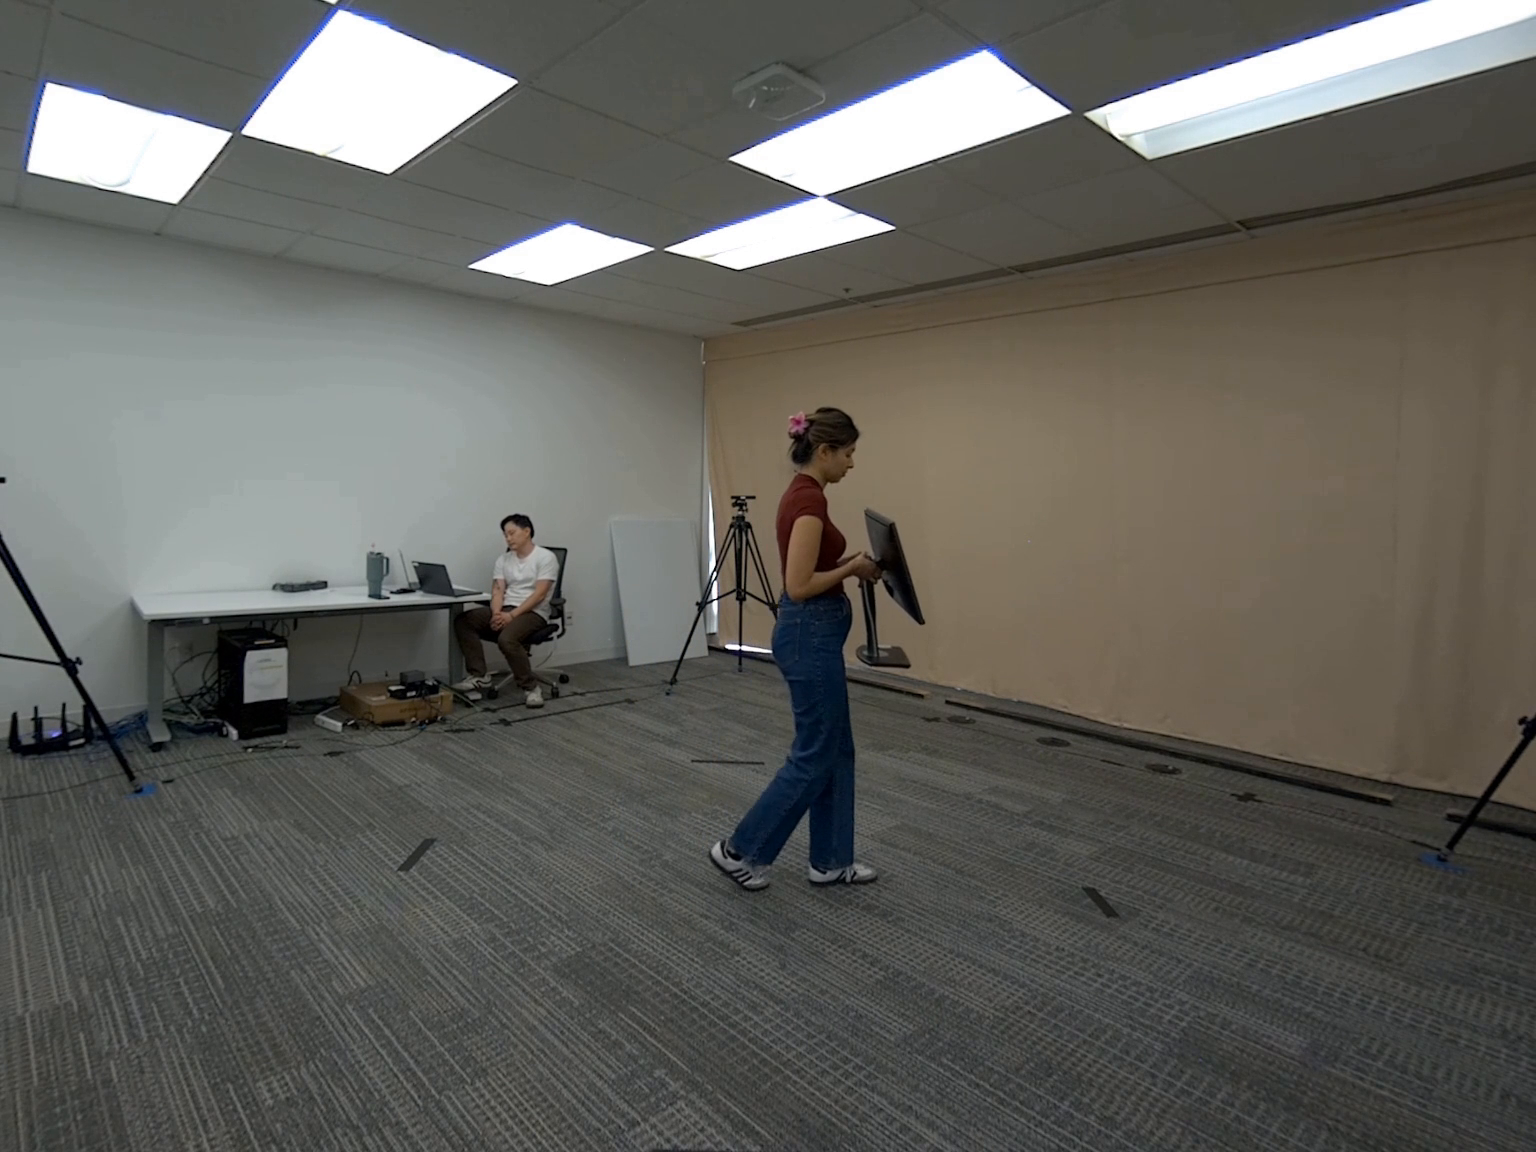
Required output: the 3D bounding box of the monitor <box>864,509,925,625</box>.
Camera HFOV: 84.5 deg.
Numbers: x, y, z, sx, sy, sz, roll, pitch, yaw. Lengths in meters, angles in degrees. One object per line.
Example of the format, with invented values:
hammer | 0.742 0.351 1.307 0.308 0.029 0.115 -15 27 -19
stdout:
monitor | 0.395 0.041 2.981 0.187 0.519 0.543 -2 9 -3
